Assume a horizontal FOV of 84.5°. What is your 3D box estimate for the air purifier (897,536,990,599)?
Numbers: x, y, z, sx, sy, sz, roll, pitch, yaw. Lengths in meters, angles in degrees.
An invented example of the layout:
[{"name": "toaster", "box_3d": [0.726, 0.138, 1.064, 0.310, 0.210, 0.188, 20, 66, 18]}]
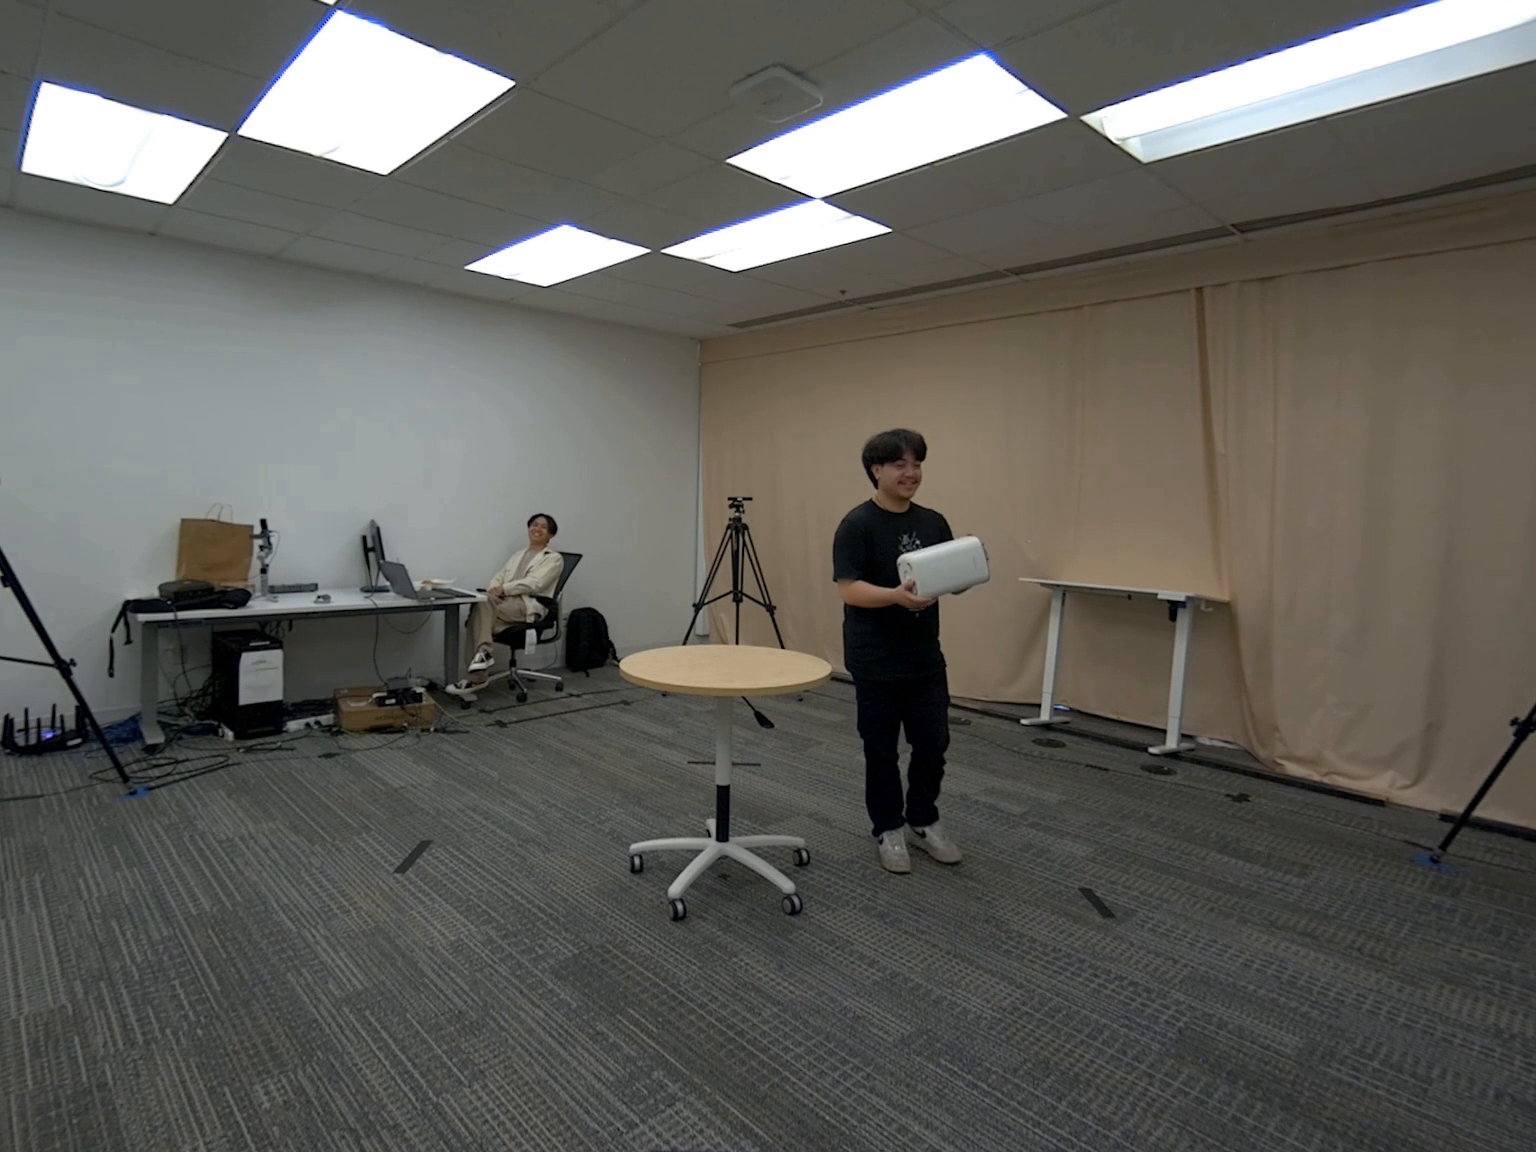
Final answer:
[{"name": "air purifier", "box_3d": [0.603, -0.022, 2.948, 0.263, 0.171, 0.173, -15, 3, -11]}]
